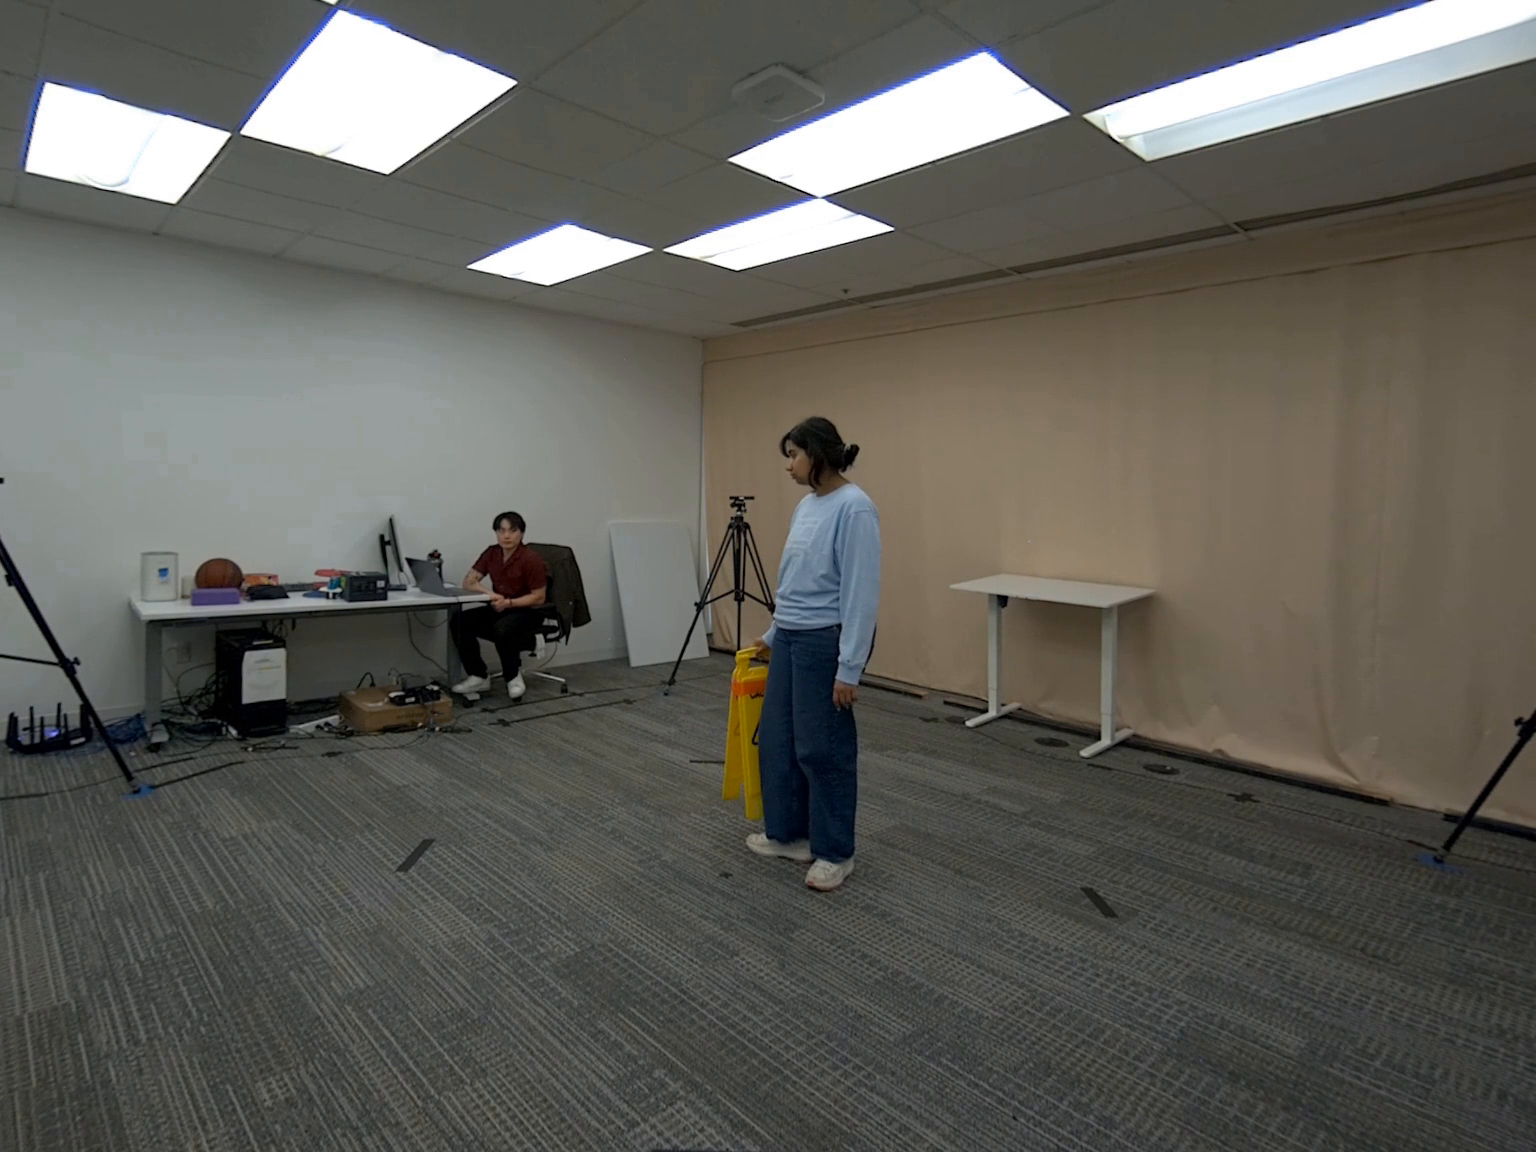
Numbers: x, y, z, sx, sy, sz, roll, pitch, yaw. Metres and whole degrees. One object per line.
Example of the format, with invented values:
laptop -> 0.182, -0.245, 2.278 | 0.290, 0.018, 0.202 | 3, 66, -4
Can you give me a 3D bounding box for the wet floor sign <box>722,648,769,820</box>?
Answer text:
wet floor sign -> -0.034, 0.617, 3.454 | 0.277, 0.644, 0.295 | -4, 5, -25
